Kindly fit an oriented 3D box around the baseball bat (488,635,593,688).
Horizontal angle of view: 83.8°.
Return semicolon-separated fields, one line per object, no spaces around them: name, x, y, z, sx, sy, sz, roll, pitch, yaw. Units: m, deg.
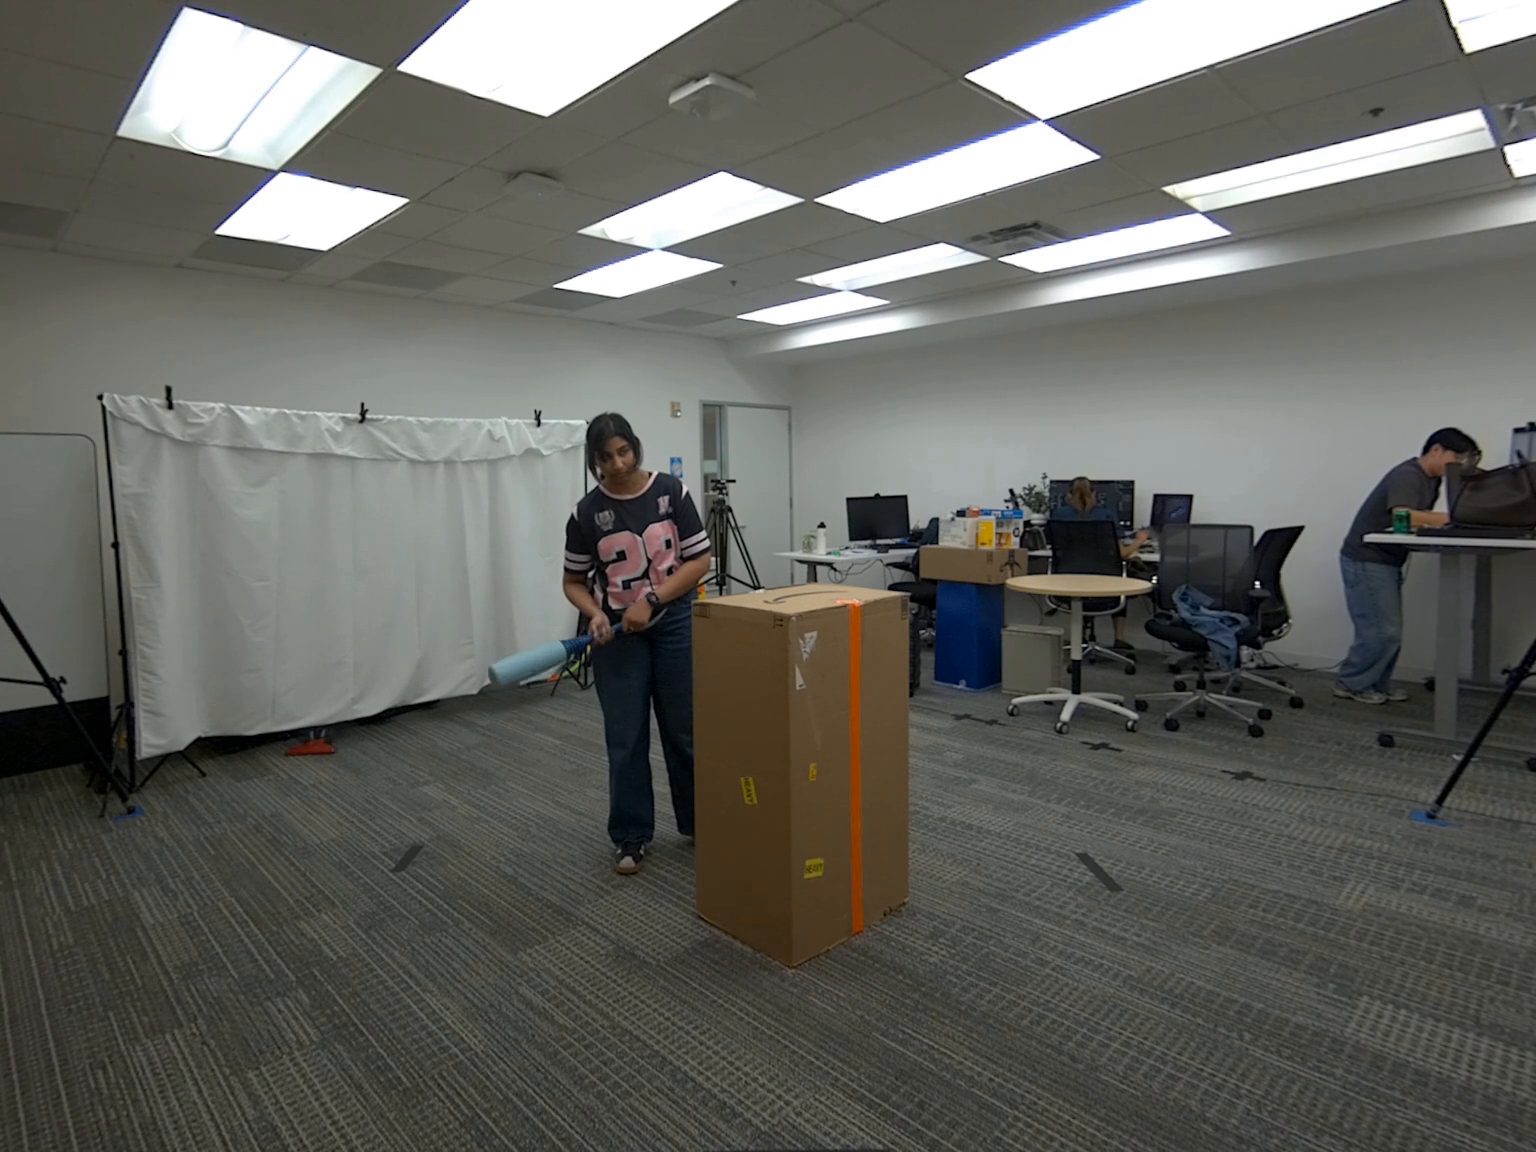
baseball bat;-0.659;0.237;2.837;0.534;0.088;0.092;-21;15;-32
